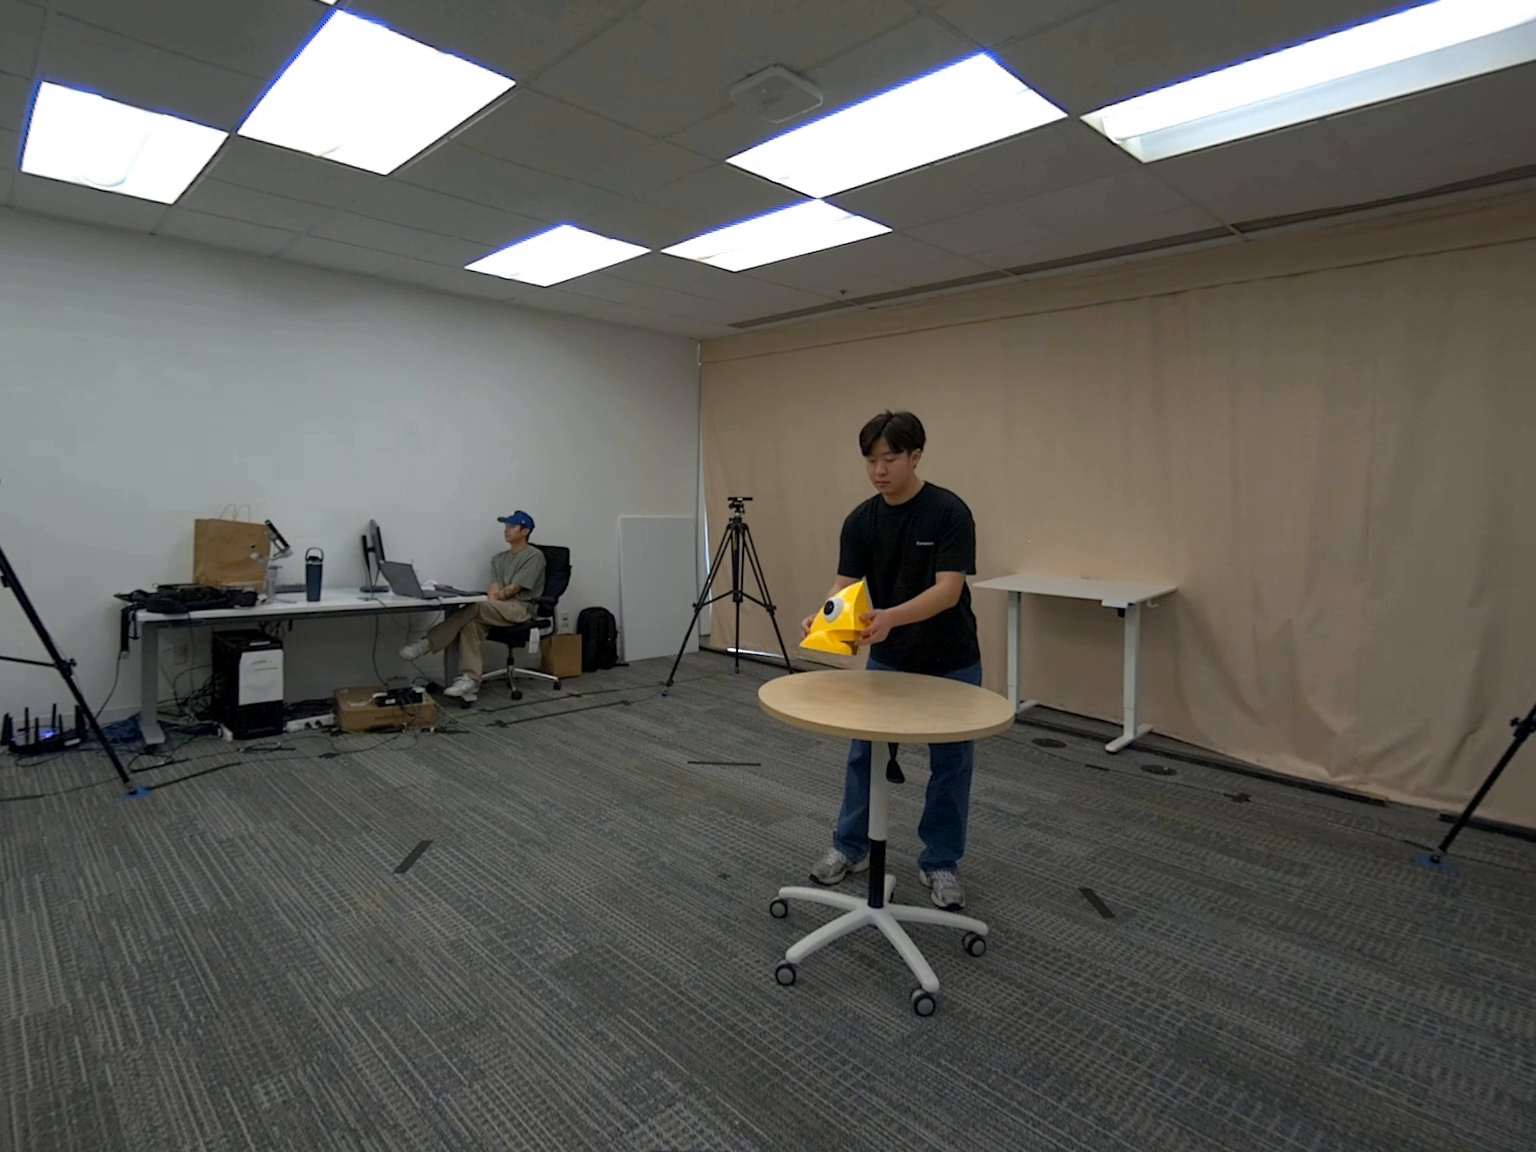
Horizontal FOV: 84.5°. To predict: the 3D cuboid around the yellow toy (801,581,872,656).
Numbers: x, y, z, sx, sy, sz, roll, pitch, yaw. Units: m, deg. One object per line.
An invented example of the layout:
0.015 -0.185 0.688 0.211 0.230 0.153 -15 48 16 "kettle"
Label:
0.220 0.131 2.614 0.197 0.231 0.200 8 -2 29 "yellow toy"
